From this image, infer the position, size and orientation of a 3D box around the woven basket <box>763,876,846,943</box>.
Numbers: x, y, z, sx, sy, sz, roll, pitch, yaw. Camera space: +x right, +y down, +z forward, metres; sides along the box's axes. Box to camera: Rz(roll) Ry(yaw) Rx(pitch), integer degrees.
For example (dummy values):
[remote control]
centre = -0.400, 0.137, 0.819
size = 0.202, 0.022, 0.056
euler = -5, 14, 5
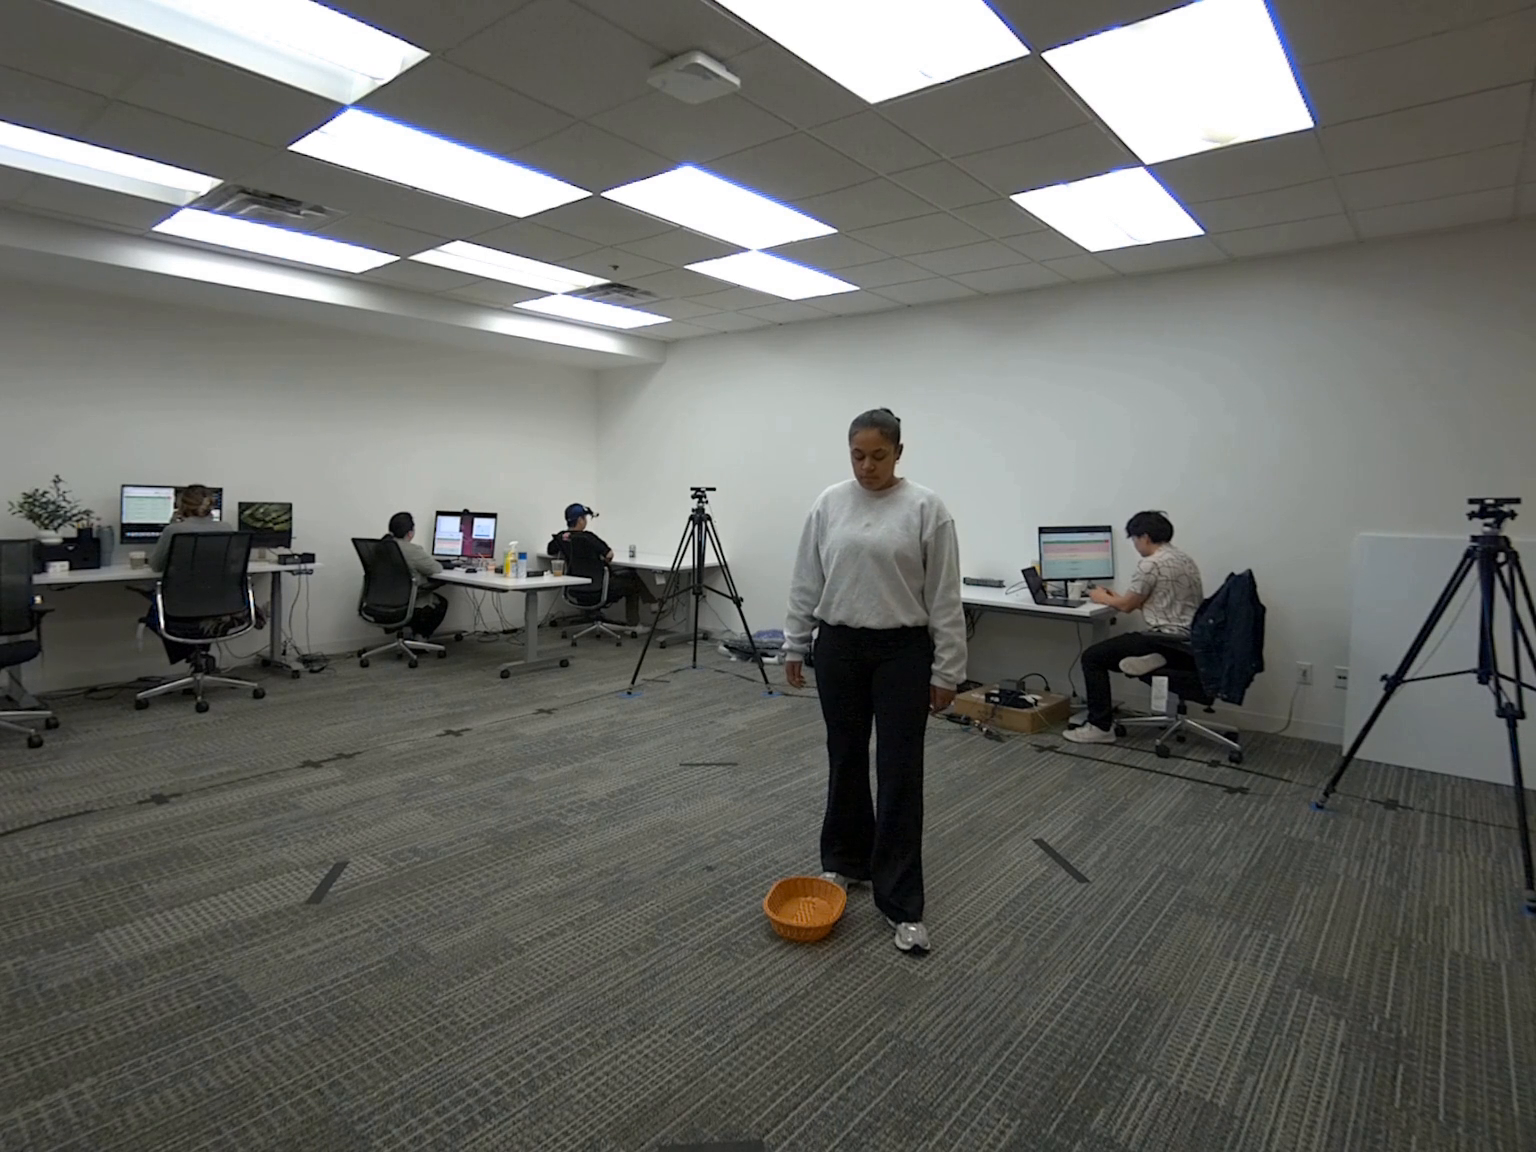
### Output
[woven basket]
centre = 0.109, 1.072, 2.743
size = 0.257, 0.073, 0.345
euler = 3, 6, 15
